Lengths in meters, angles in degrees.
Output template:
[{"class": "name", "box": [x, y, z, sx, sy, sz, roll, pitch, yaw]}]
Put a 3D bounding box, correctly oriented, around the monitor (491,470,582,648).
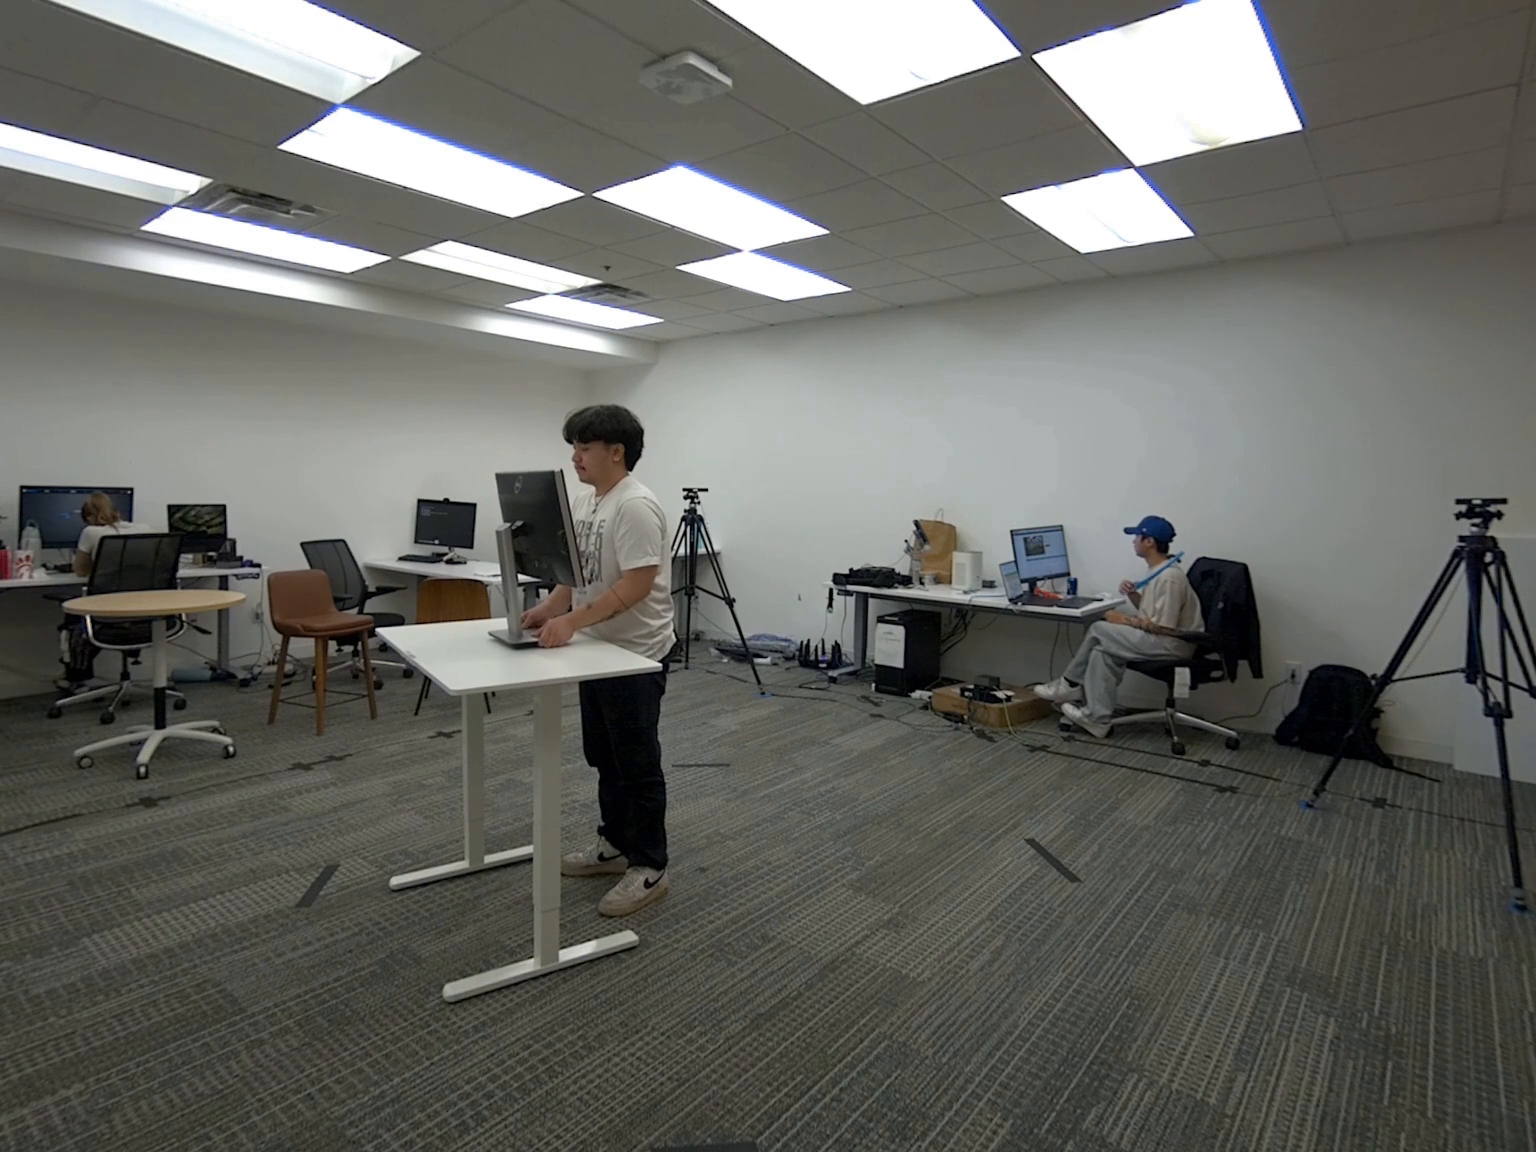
[{"class": "monitor", "box": [-0.800, -0.065, 2.727, 0.205, 0.550, 0.584, -9, 10, -35]}]
